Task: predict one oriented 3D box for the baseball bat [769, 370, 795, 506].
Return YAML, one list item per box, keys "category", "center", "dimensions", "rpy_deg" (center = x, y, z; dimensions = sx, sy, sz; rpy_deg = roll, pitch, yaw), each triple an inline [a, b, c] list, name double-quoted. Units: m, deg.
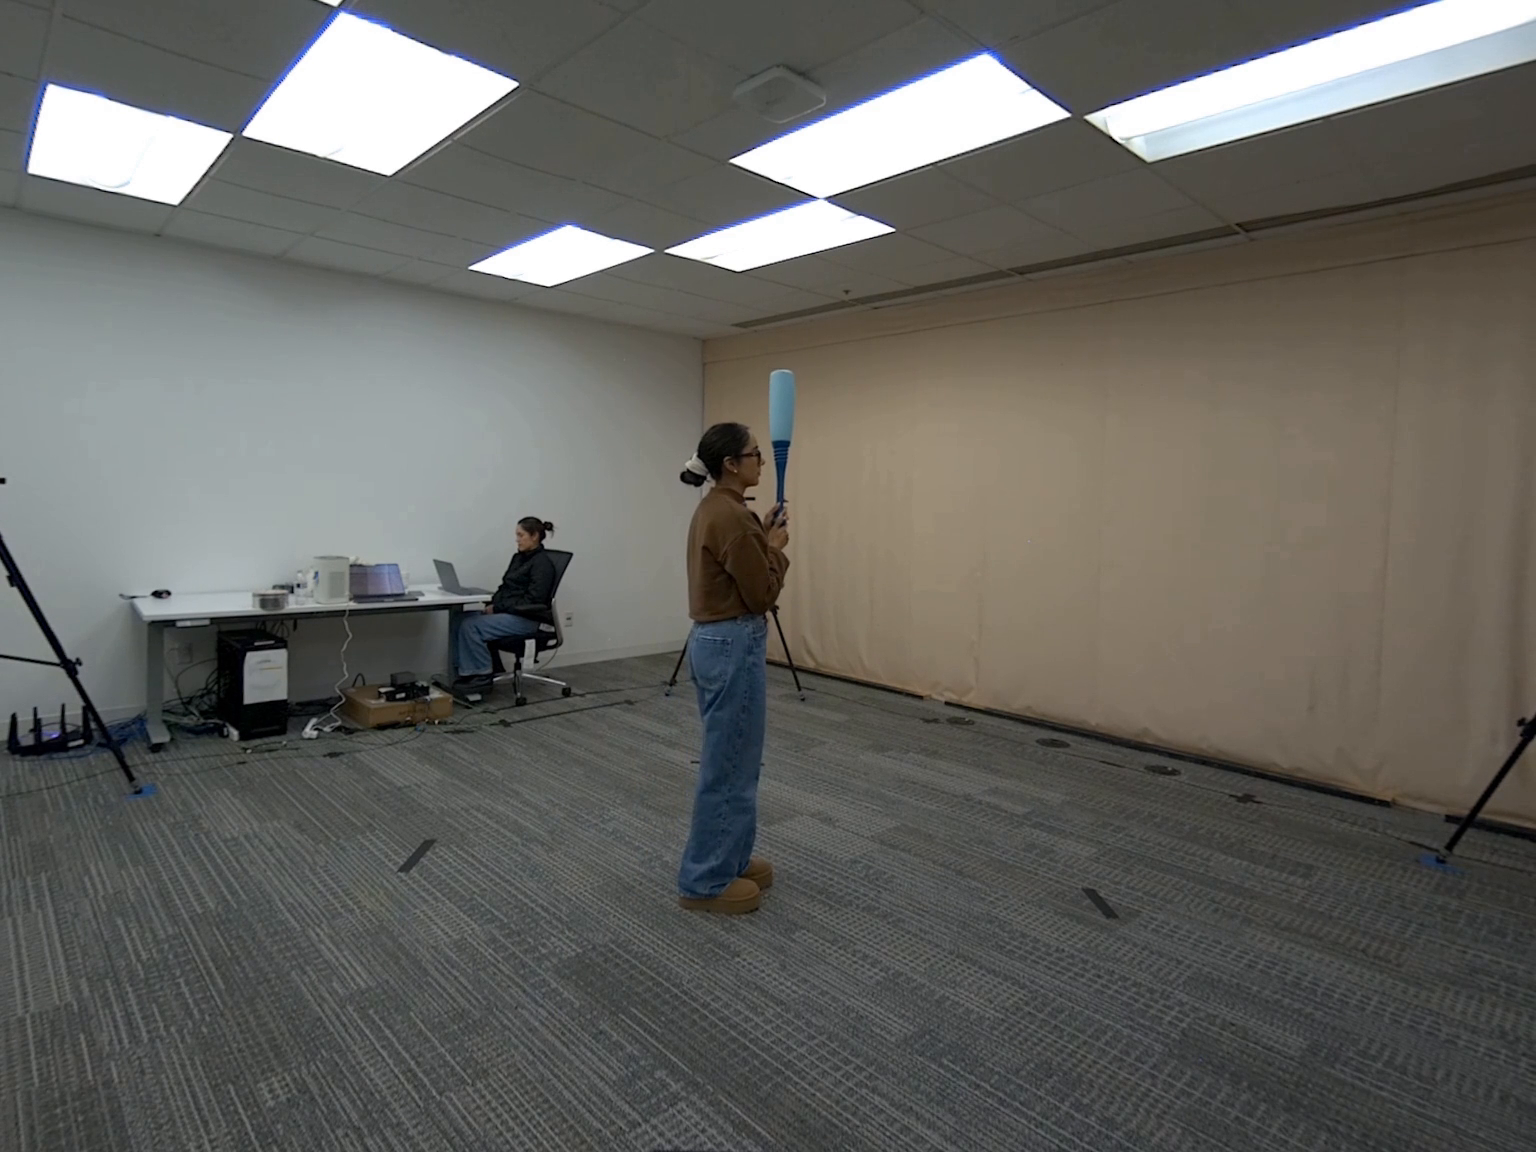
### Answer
- category: "baseball bat"
  center: [0.039, -0.450, 2.940]
  dimensions: [0.089, 0.545, 0.089]
  rpy_deg: [1, -5, -1]
